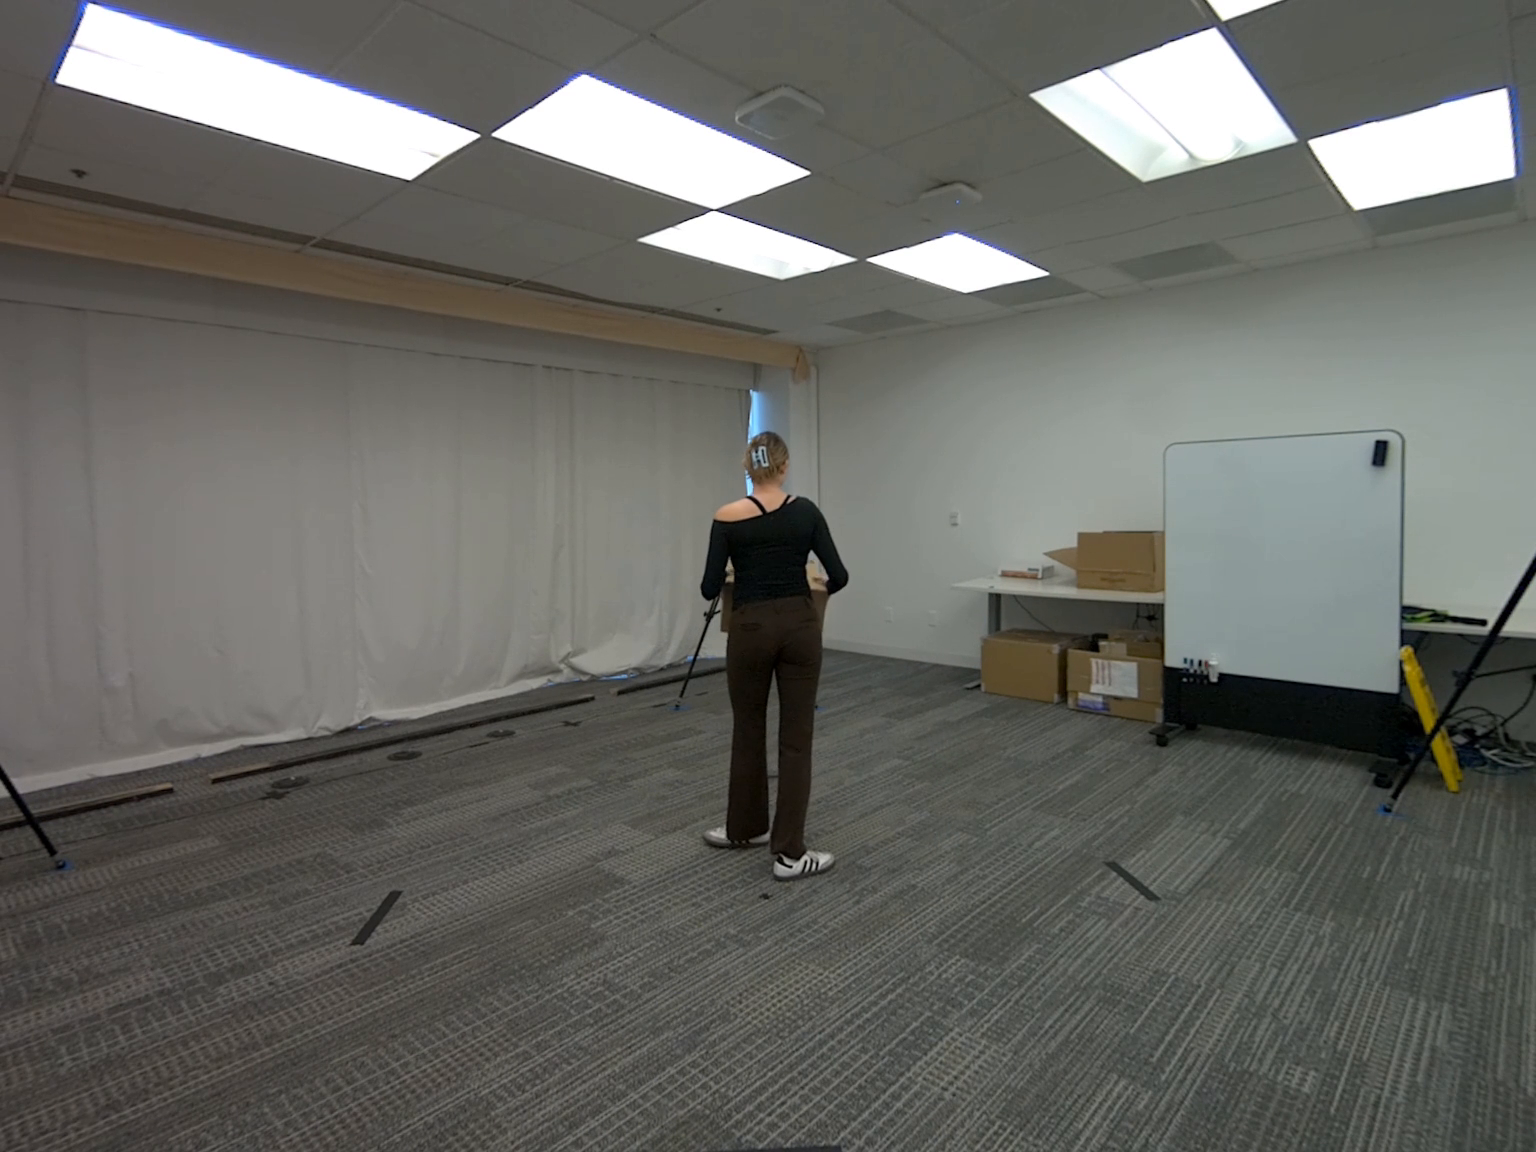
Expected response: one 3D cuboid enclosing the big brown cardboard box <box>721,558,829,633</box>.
[{"bbox_3d":[0.016,0.068,3.648,0.417,0.231,0.594,4,14,-3],"label":"big brown cardboard box"}]
